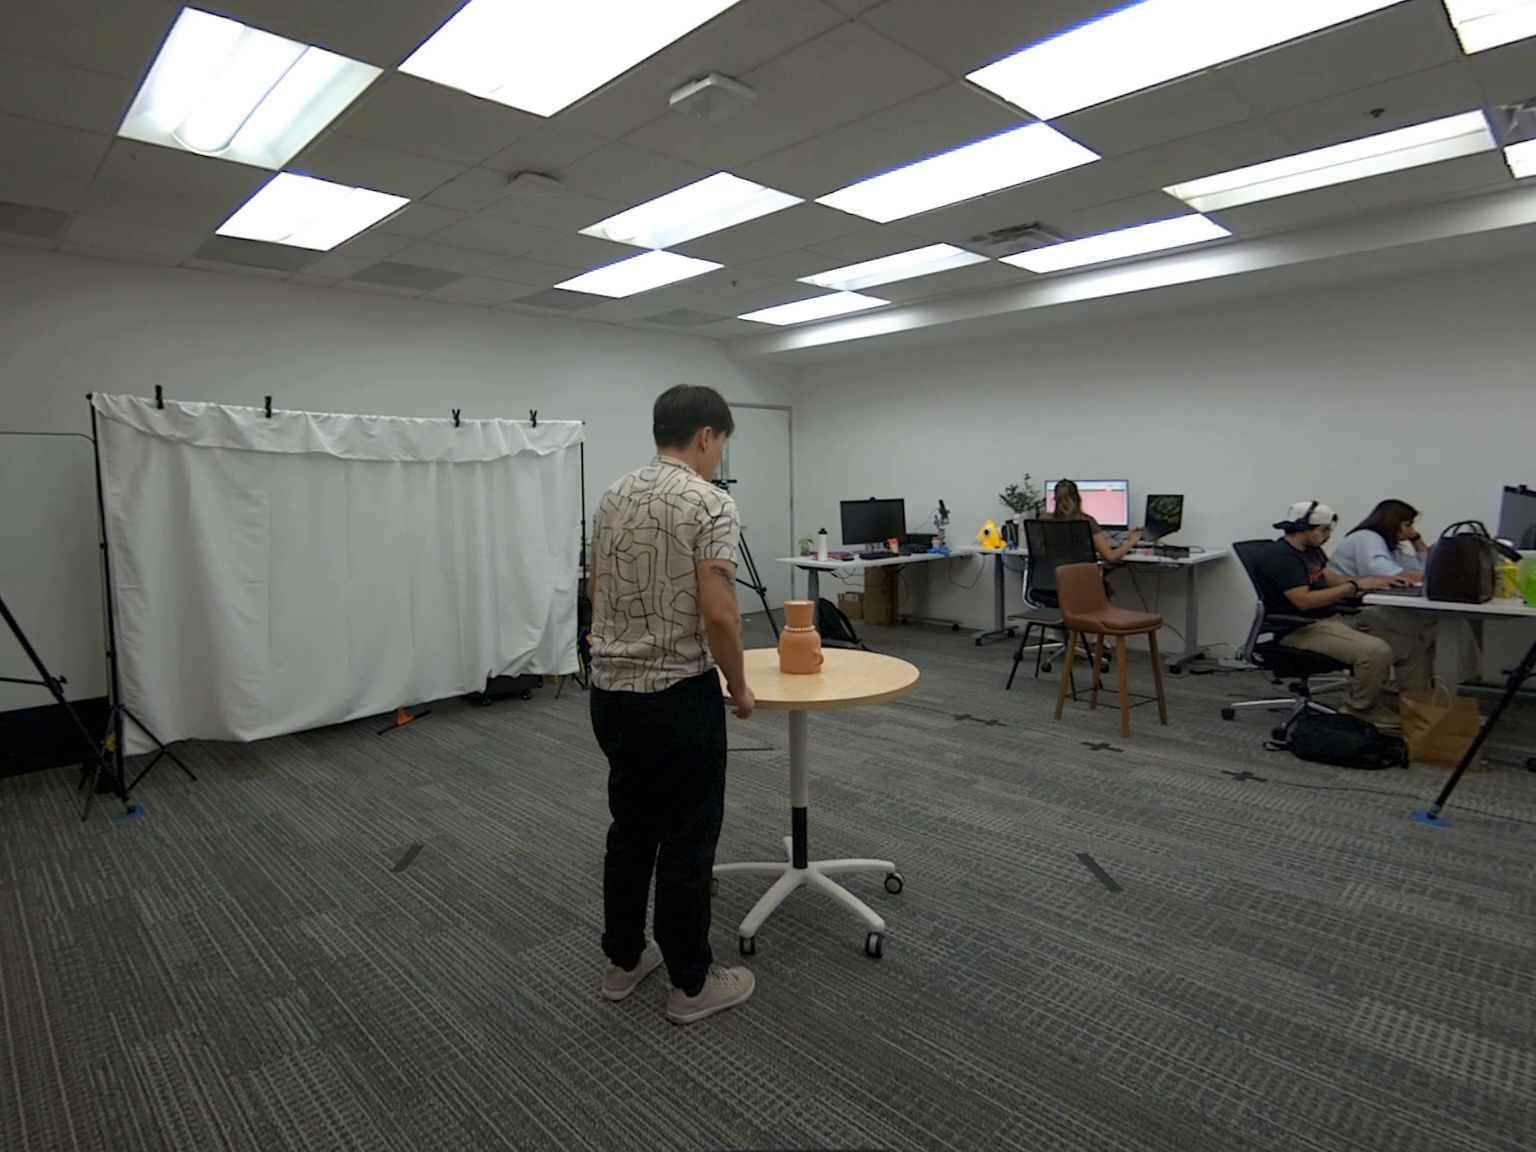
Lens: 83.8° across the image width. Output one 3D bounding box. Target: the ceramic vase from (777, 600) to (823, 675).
[{"bbox_3d":[0.098,0.191,2.742,0.160,0.219,0.134,-1,3,9],"label":"ceramic vase"}]
